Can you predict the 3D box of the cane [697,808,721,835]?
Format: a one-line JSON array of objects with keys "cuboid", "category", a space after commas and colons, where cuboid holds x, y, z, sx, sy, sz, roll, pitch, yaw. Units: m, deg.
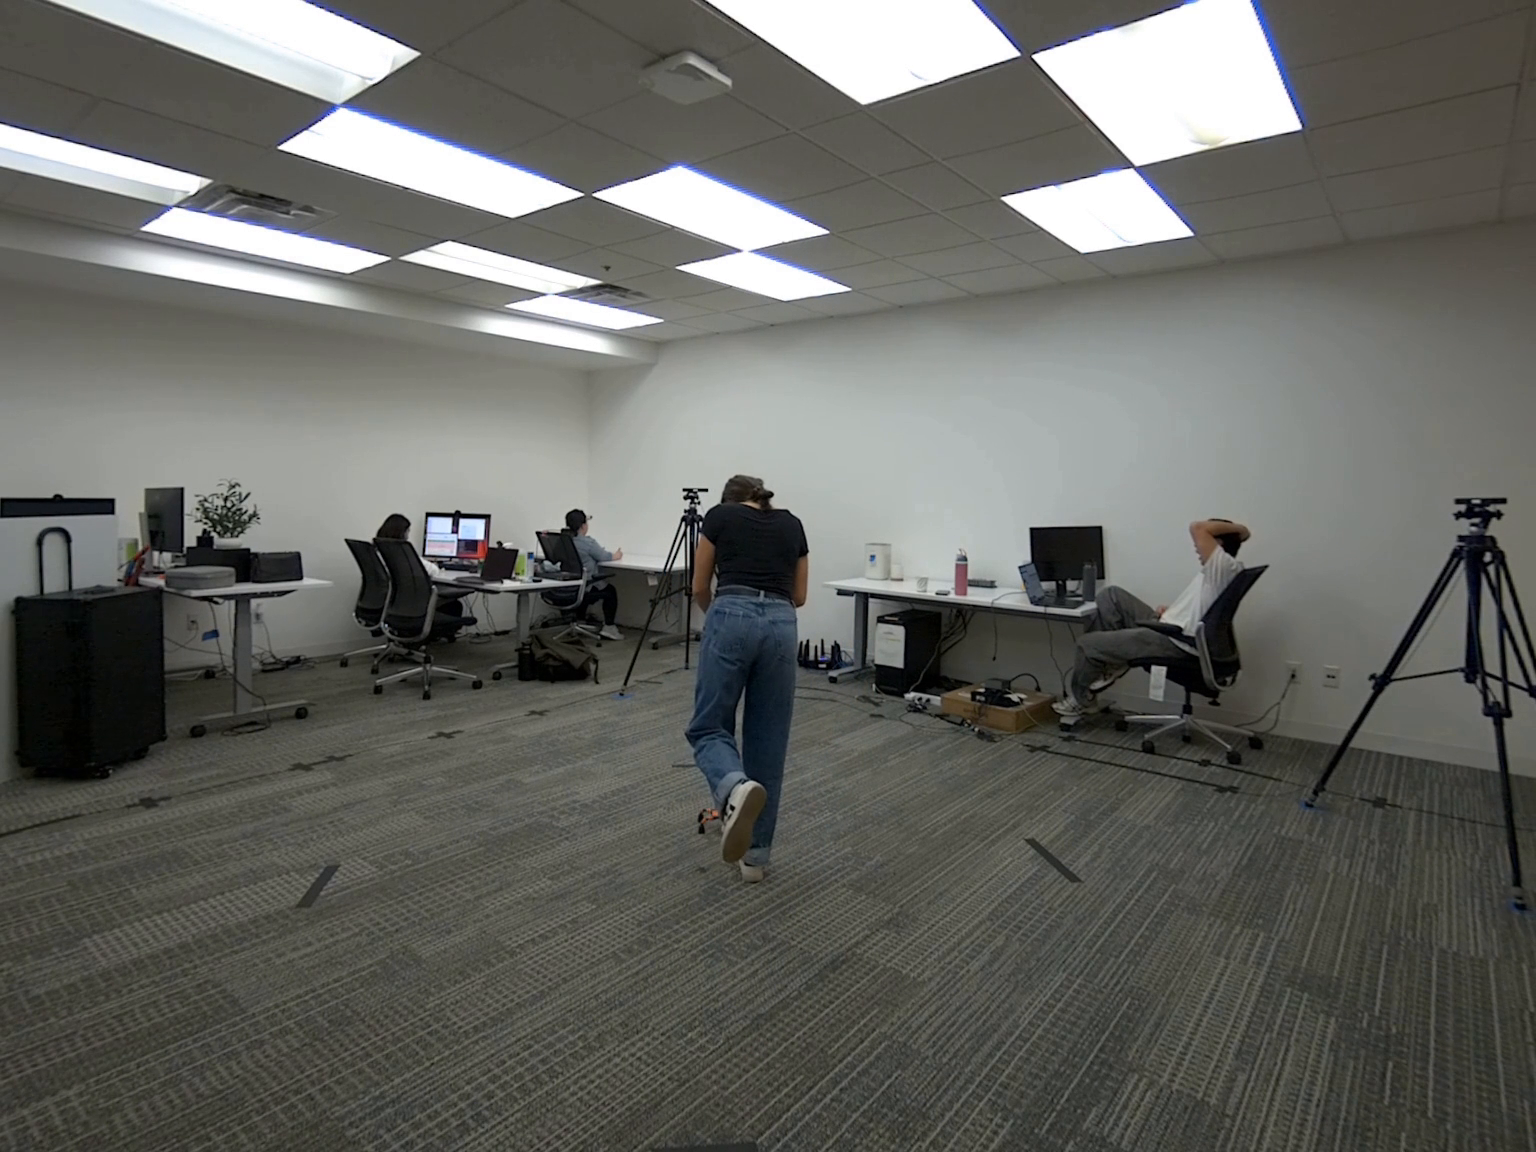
[{"cuboid": [-0.171, 0.567, 3.490, 0.206, 0.906, 0.152, 1, 2, -4], "category": "cane"}]
